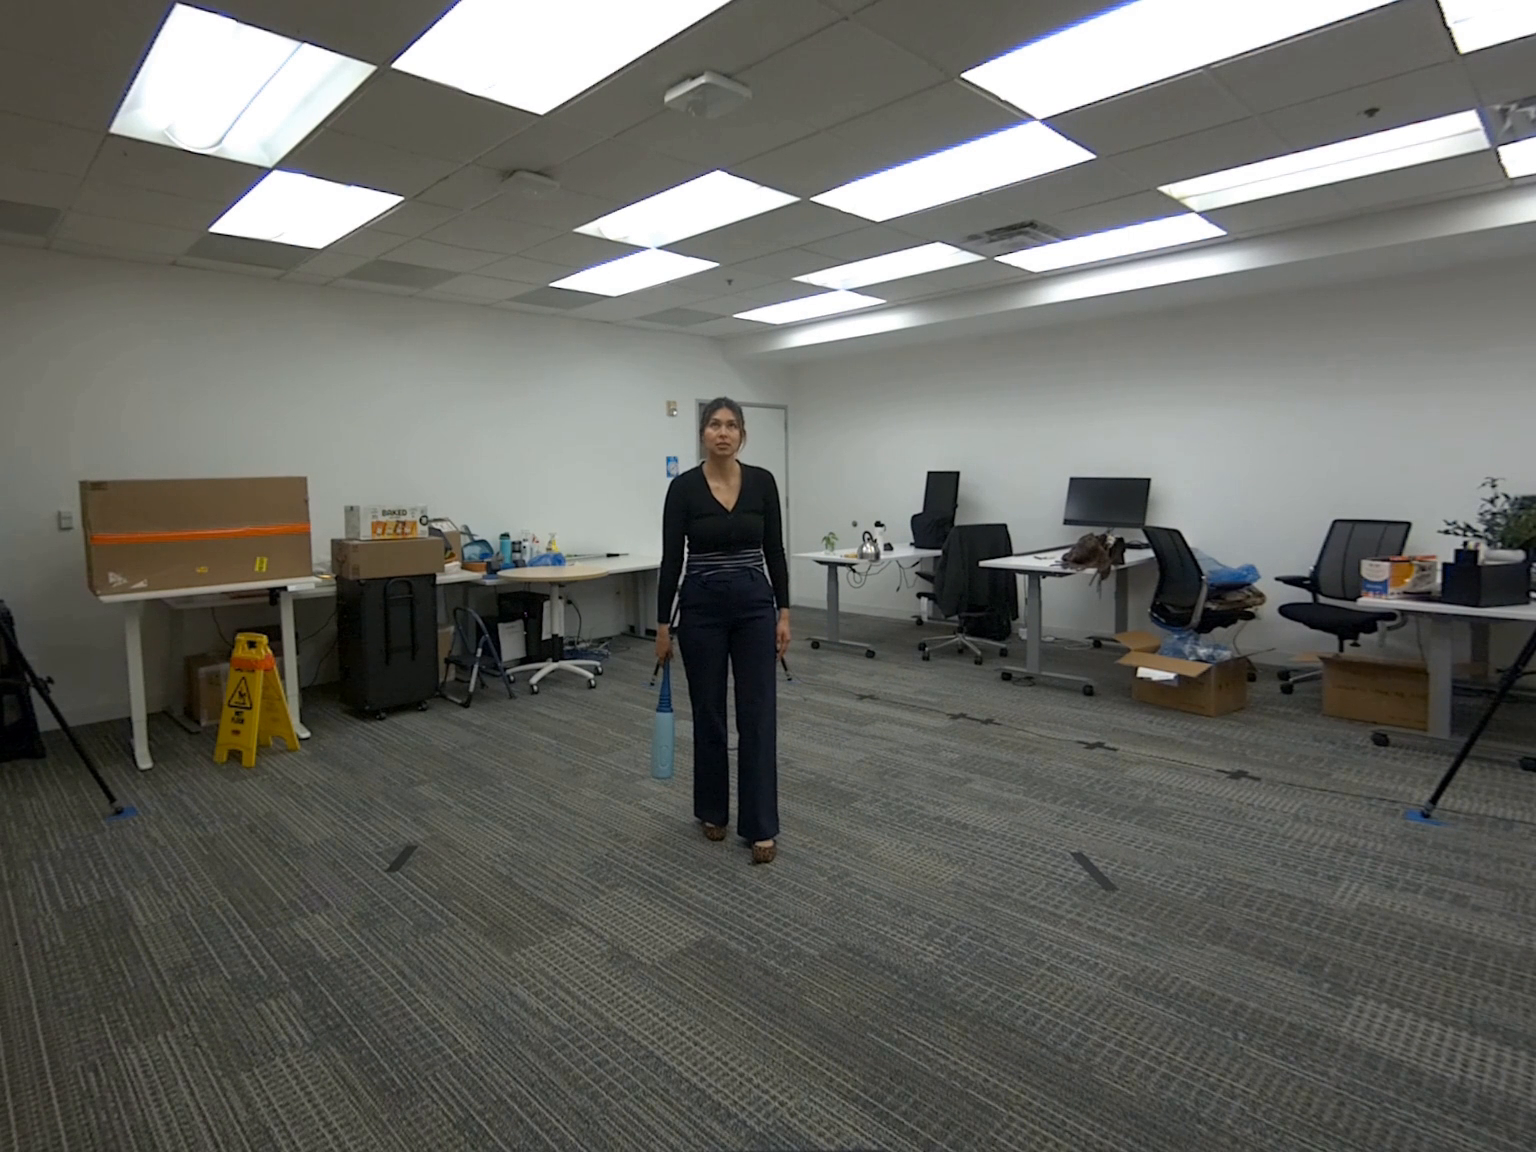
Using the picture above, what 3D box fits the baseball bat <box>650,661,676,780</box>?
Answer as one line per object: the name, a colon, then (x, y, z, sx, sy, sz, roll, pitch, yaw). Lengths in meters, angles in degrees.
baseball bat: (-0.397, 0.508, 3.280, 0.089, 0.545, 0.089, 1, -5, -2)
